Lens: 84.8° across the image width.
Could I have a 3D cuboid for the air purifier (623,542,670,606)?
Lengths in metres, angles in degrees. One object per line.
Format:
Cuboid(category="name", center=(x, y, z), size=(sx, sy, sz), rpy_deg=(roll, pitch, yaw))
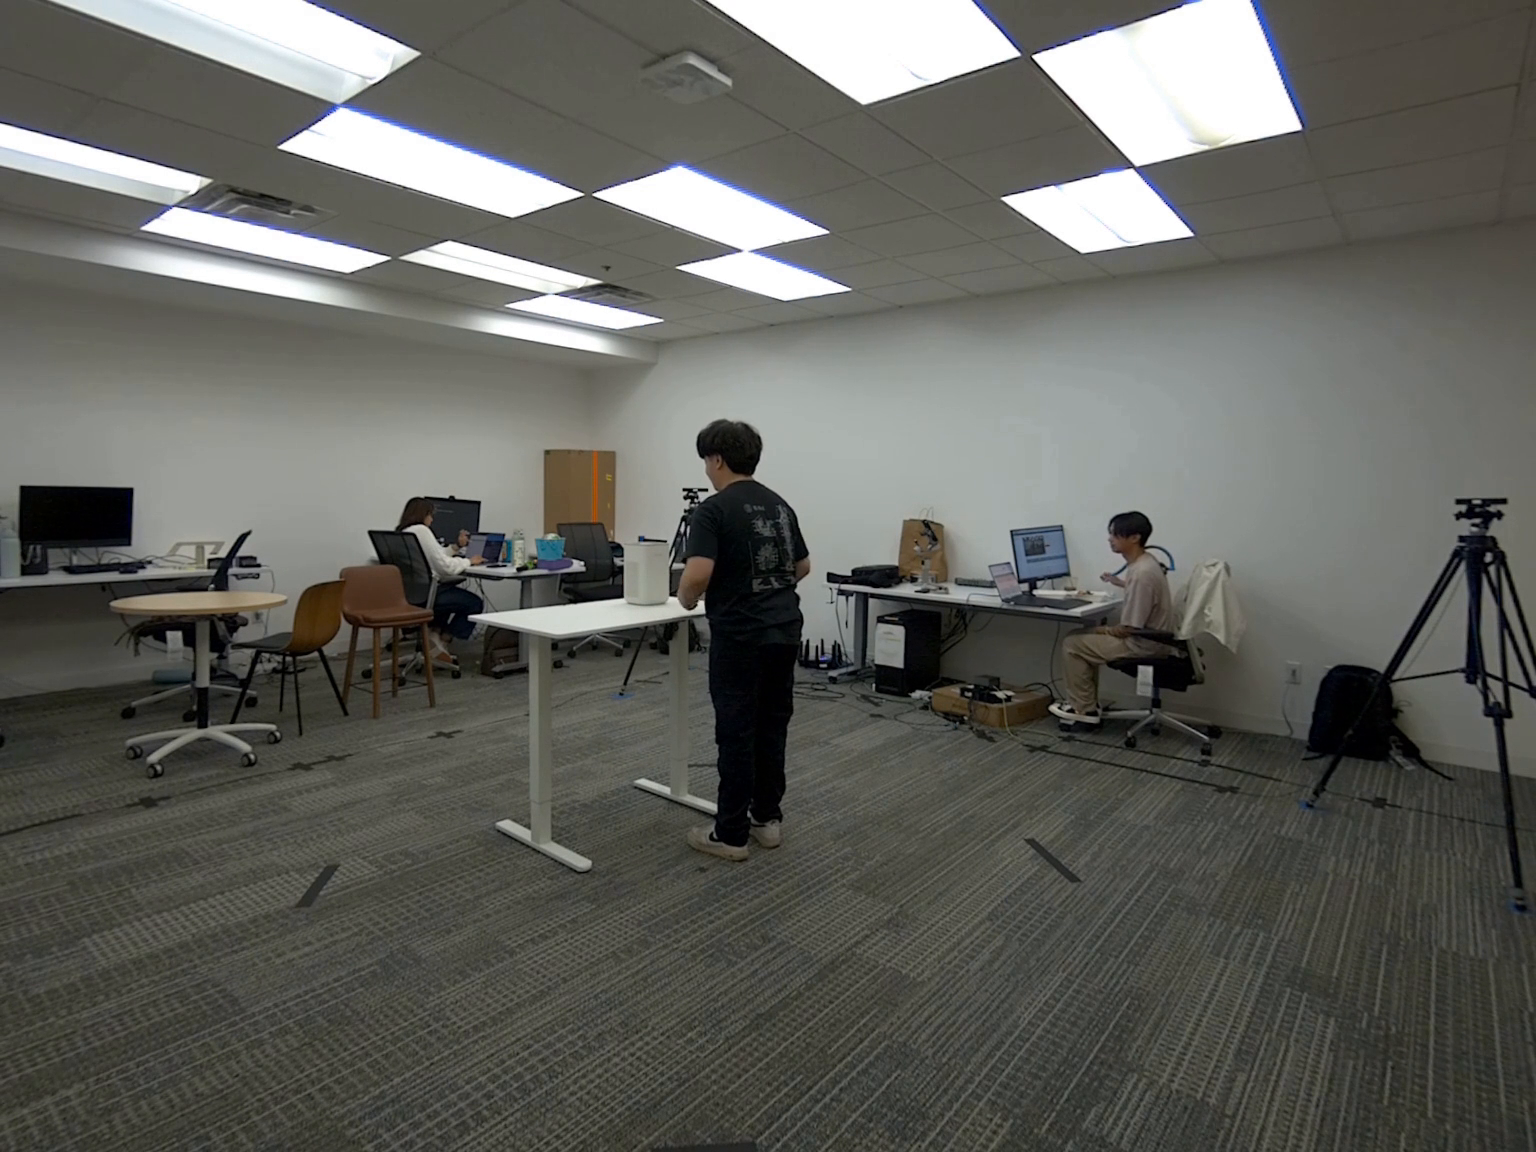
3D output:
Cuboid(category="air purifier", center=(-0.548, -0.017, 3.749), size=(0.177, 0.265, 0.166), rpy_deg=(1, 4, 42))
